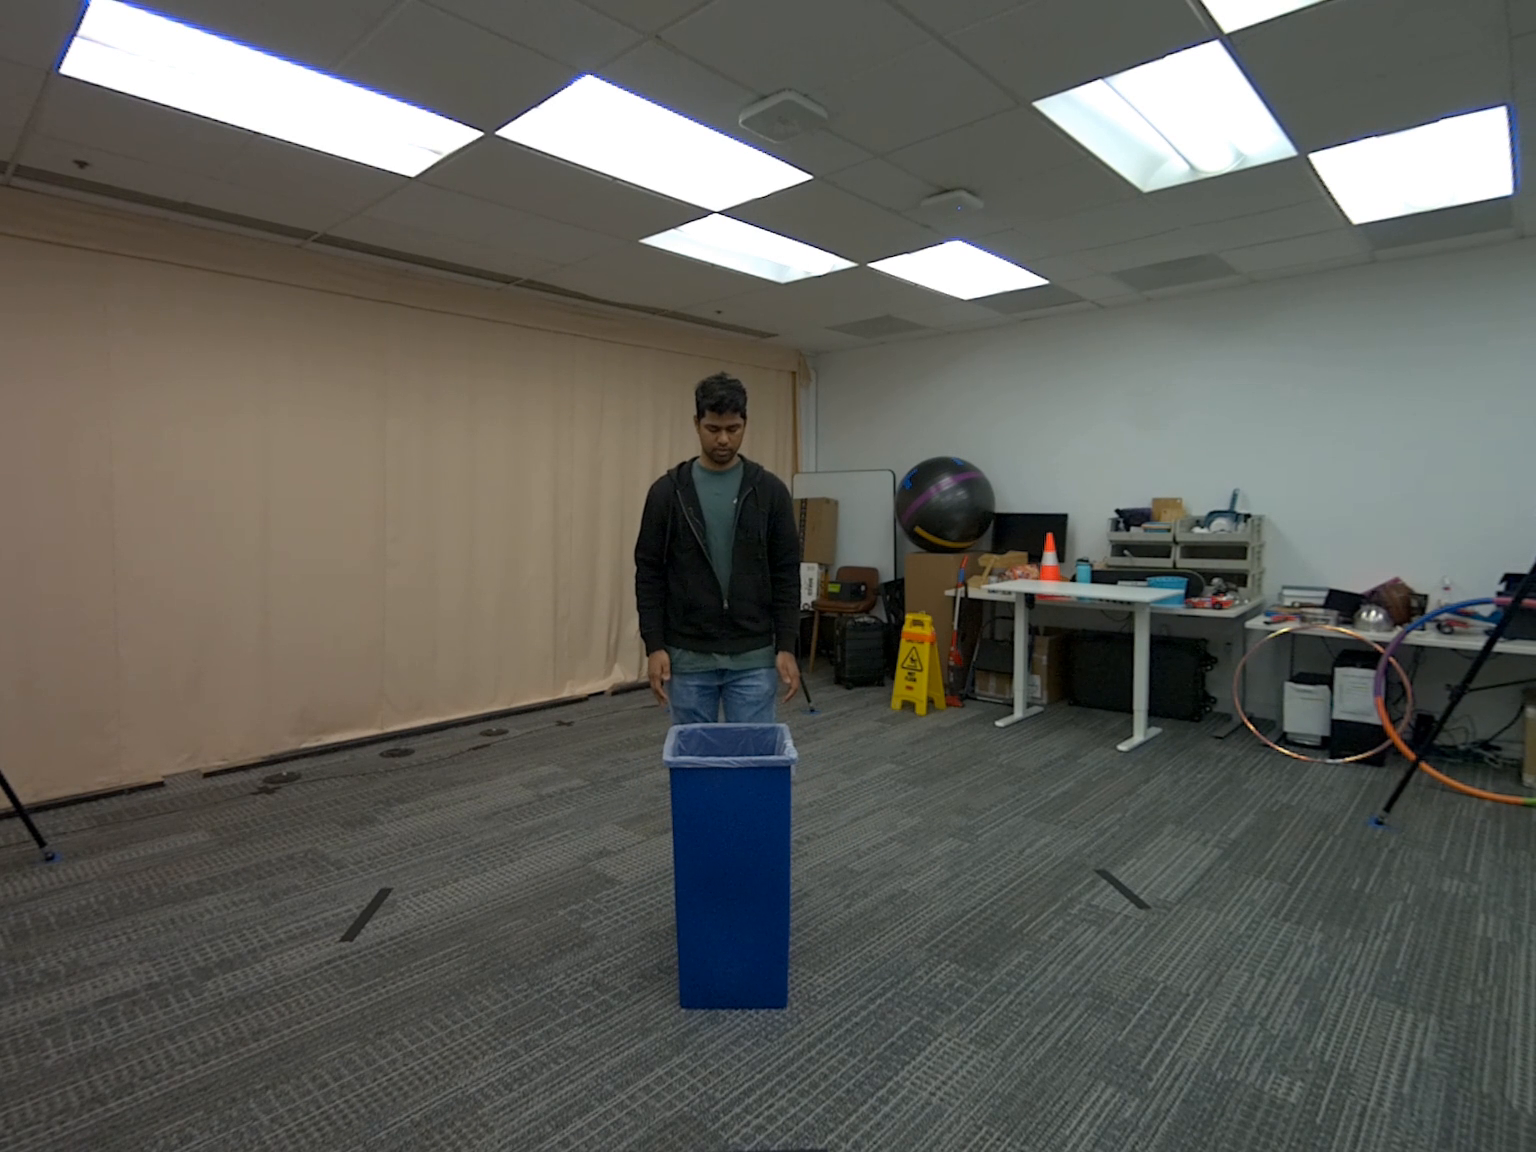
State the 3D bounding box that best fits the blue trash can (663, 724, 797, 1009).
[{"bbox_3d":[-0.108,0.831,2.462,0.374,0.712,0.379,0,3,-1],"label":"blue trash can"}]
